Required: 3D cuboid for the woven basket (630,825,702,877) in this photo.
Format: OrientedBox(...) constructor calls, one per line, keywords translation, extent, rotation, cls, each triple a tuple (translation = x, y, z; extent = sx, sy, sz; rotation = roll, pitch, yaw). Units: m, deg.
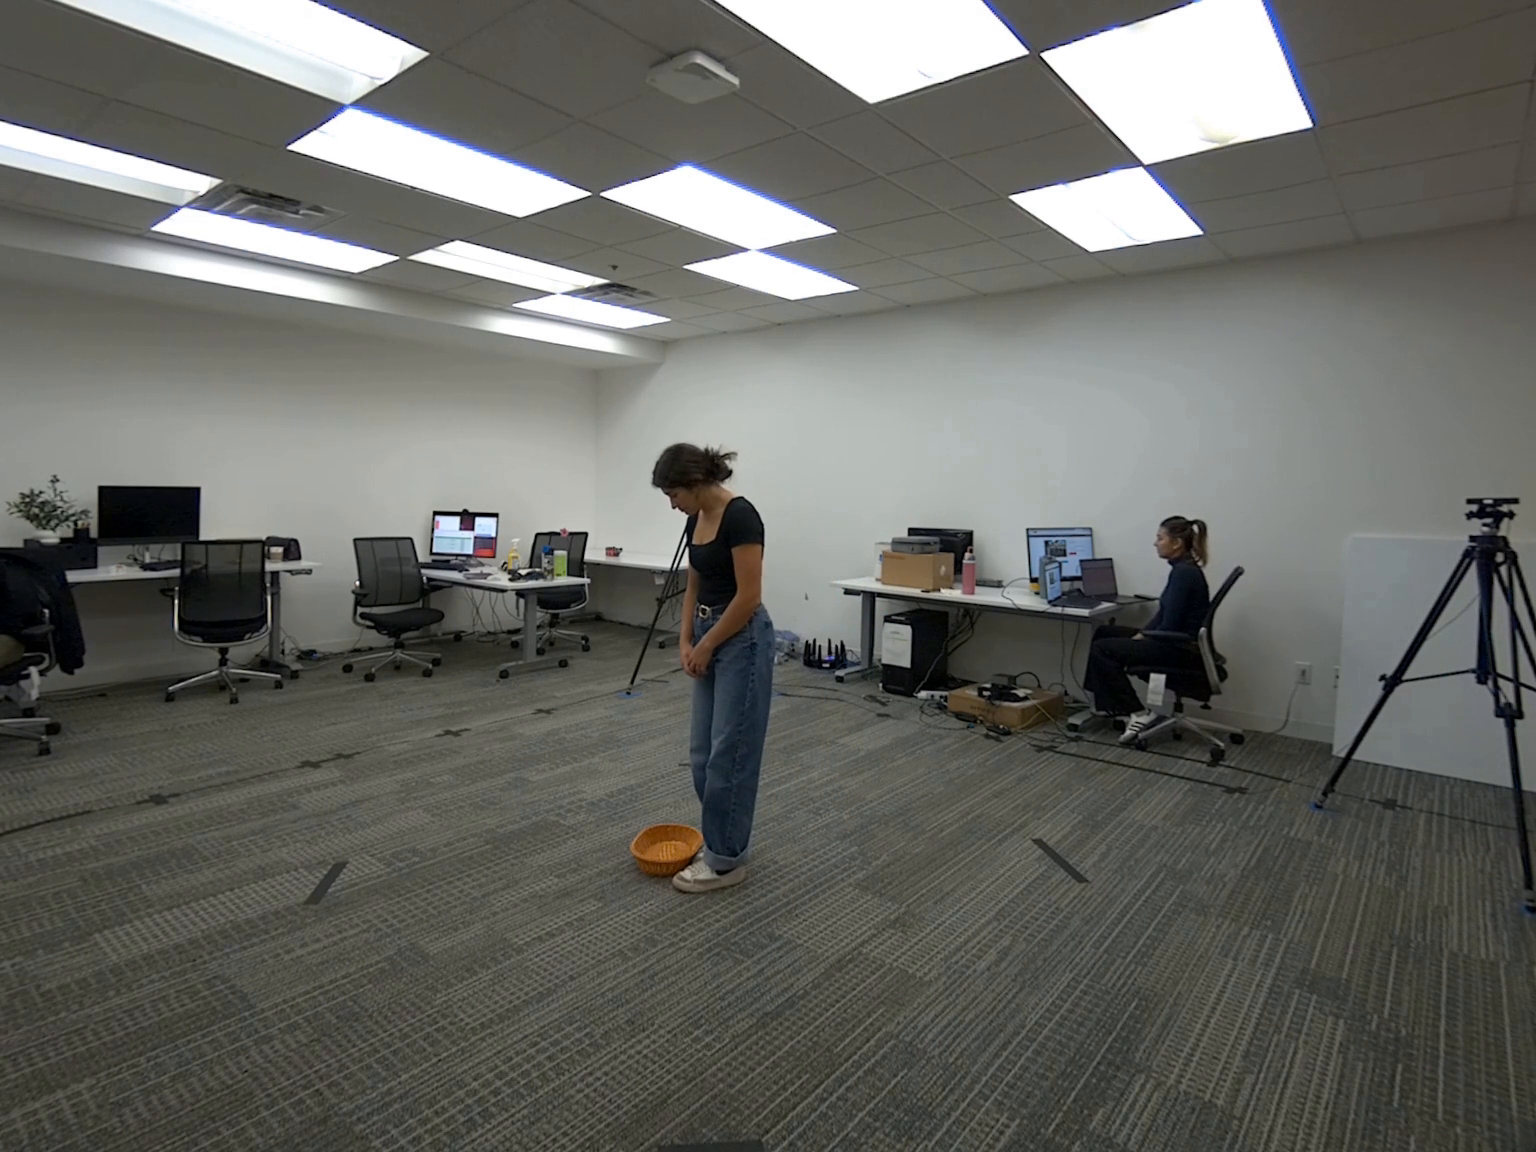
OrientedBox(translation=(-0.385, 1.018, 3.173), extent=(0.256, 0.073, 0.346), rotation=(3, 6, 13), cls="woven basket")
